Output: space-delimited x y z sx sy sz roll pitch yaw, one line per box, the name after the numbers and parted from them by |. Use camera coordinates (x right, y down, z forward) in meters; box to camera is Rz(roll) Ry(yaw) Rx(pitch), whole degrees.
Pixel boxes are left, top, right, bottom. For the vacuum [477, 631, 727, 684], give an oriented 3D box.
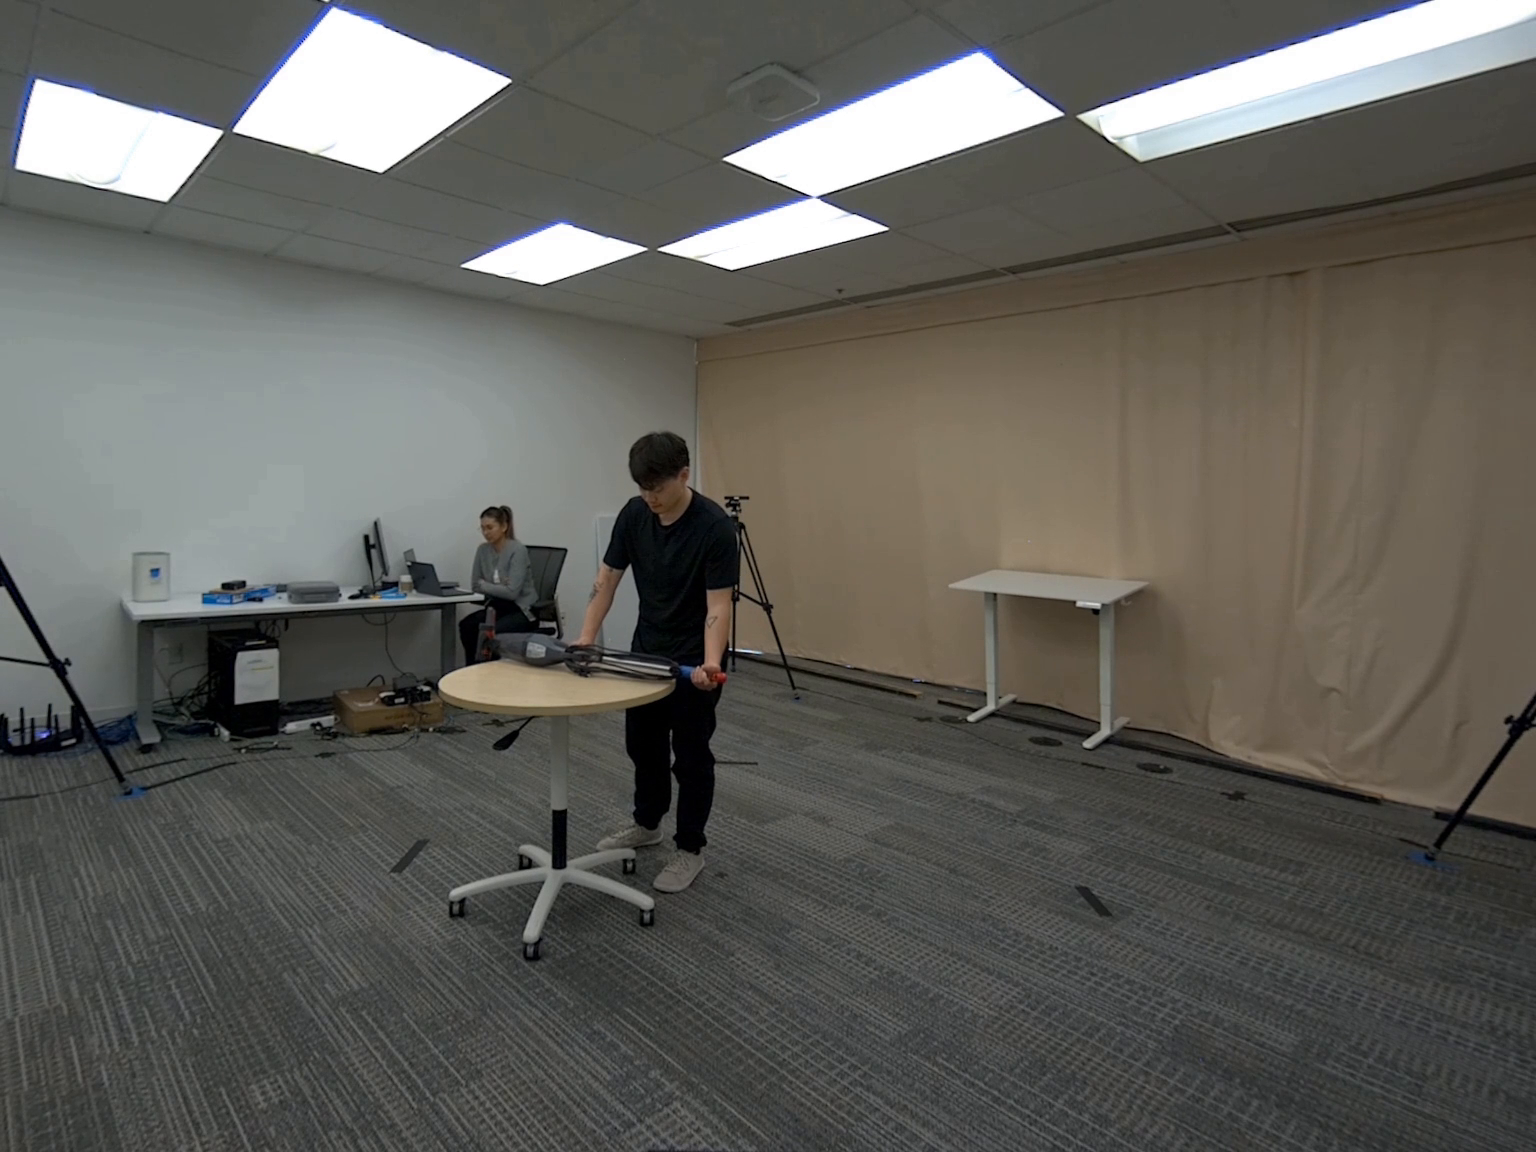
-0.603 0.292 2.873 1.072 0.254 0.140 5 -11 29 | vacuum
